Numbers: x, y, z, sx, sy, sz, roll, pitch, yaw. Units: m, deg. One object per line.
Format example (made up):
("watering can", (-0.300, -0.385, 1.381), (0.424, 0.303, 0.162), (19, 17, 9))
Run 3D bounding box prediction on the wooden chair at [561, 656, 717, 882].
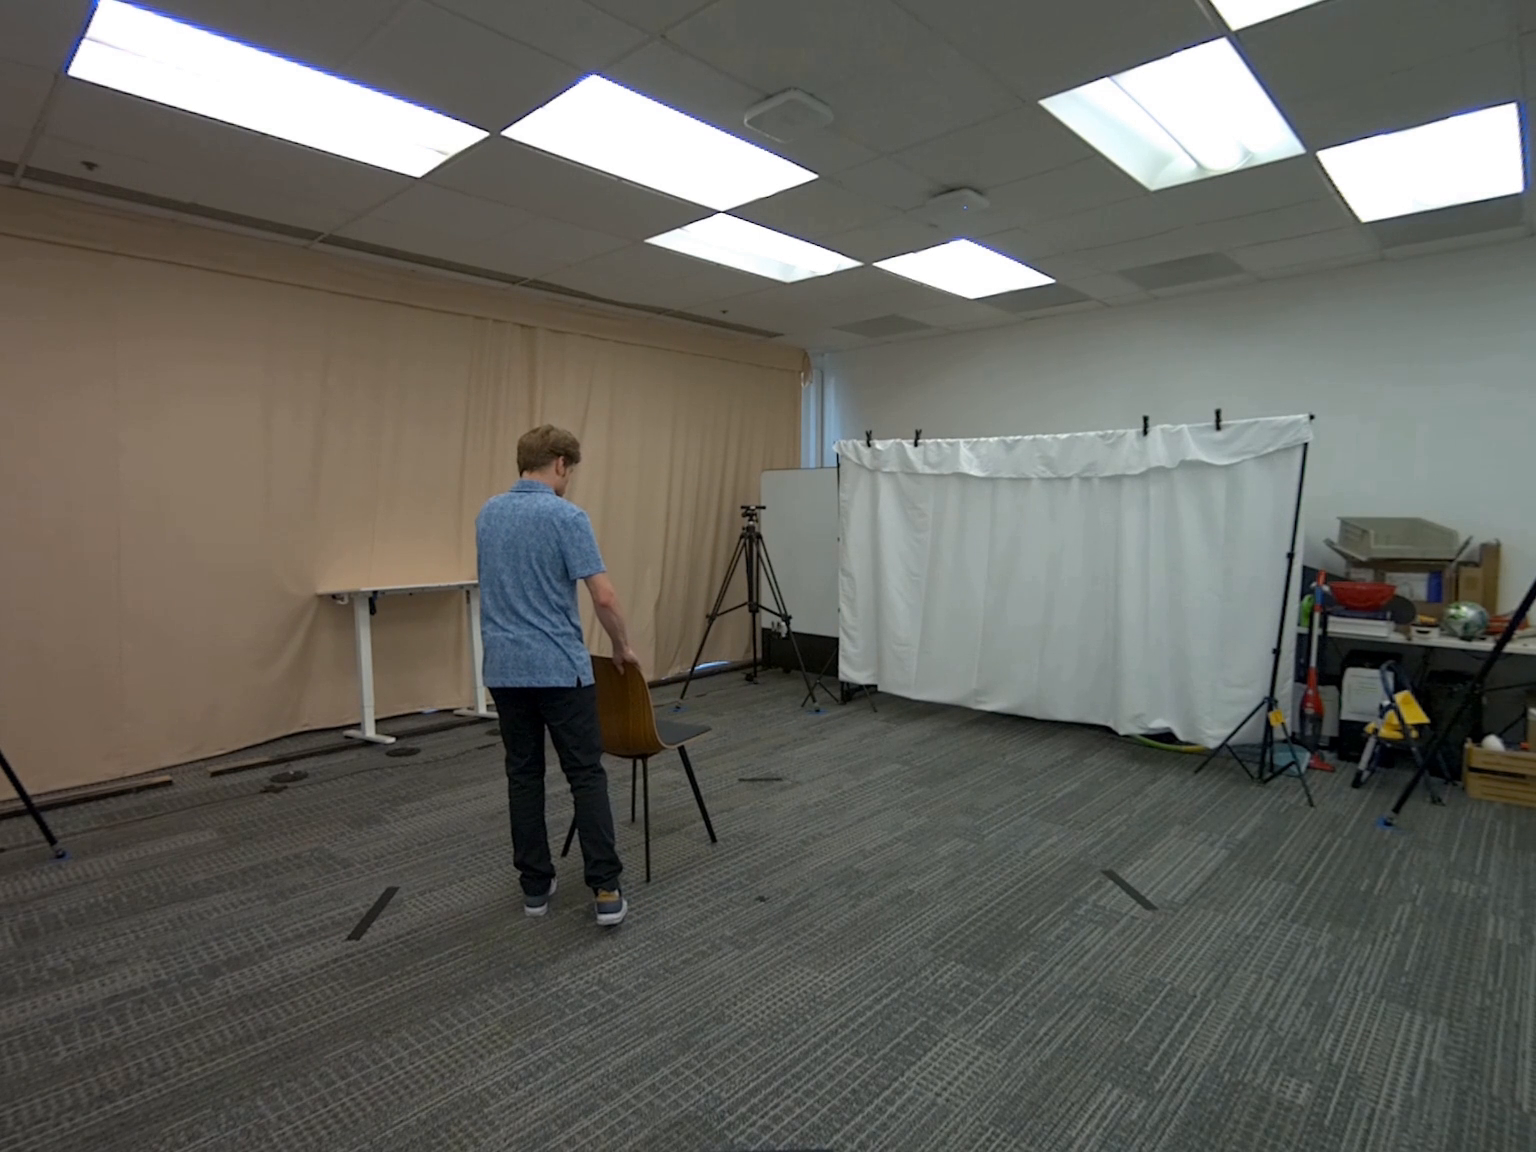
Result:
("wooden chair", (-0.519, 0.682, 3.401), (0.492, 0.873, 0.510), (1, 8, 32))
